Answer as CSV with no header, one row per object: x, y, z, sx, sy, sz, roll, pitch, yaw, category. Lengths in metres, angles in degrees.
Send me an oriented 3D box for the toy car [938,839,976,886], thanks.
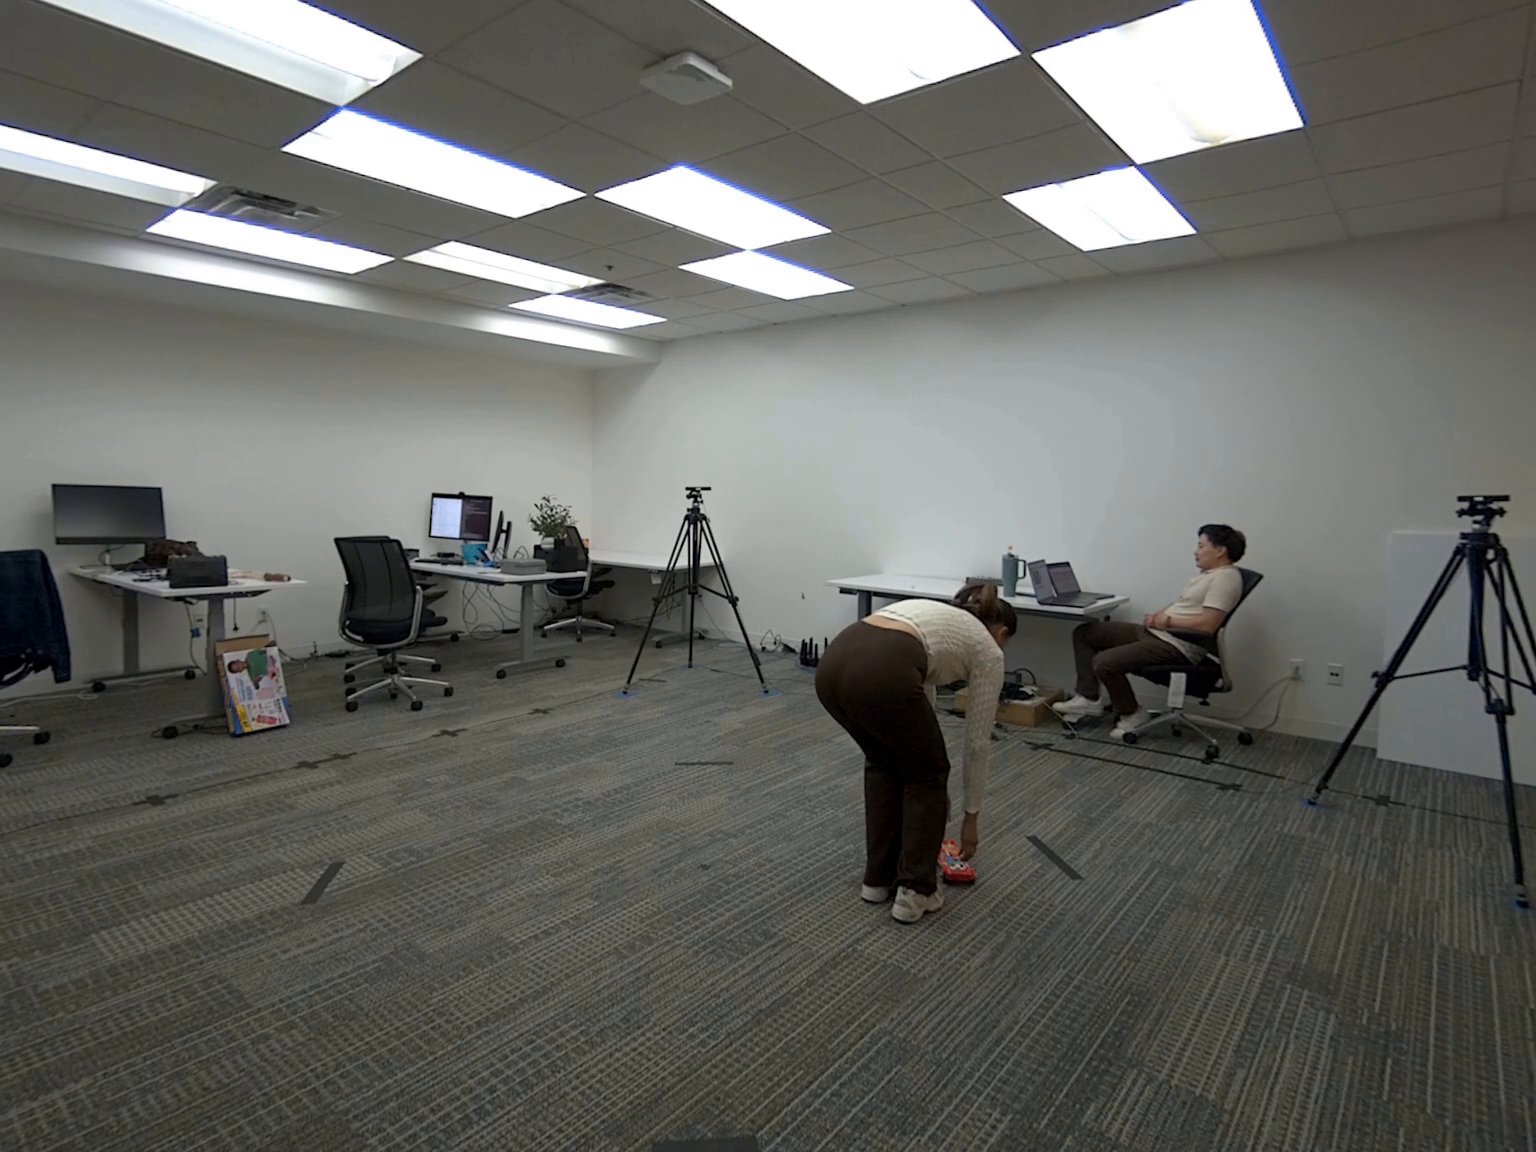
0.678,1.048,3.139,0.131,0.082,0.257,-1,17,2,toy car
